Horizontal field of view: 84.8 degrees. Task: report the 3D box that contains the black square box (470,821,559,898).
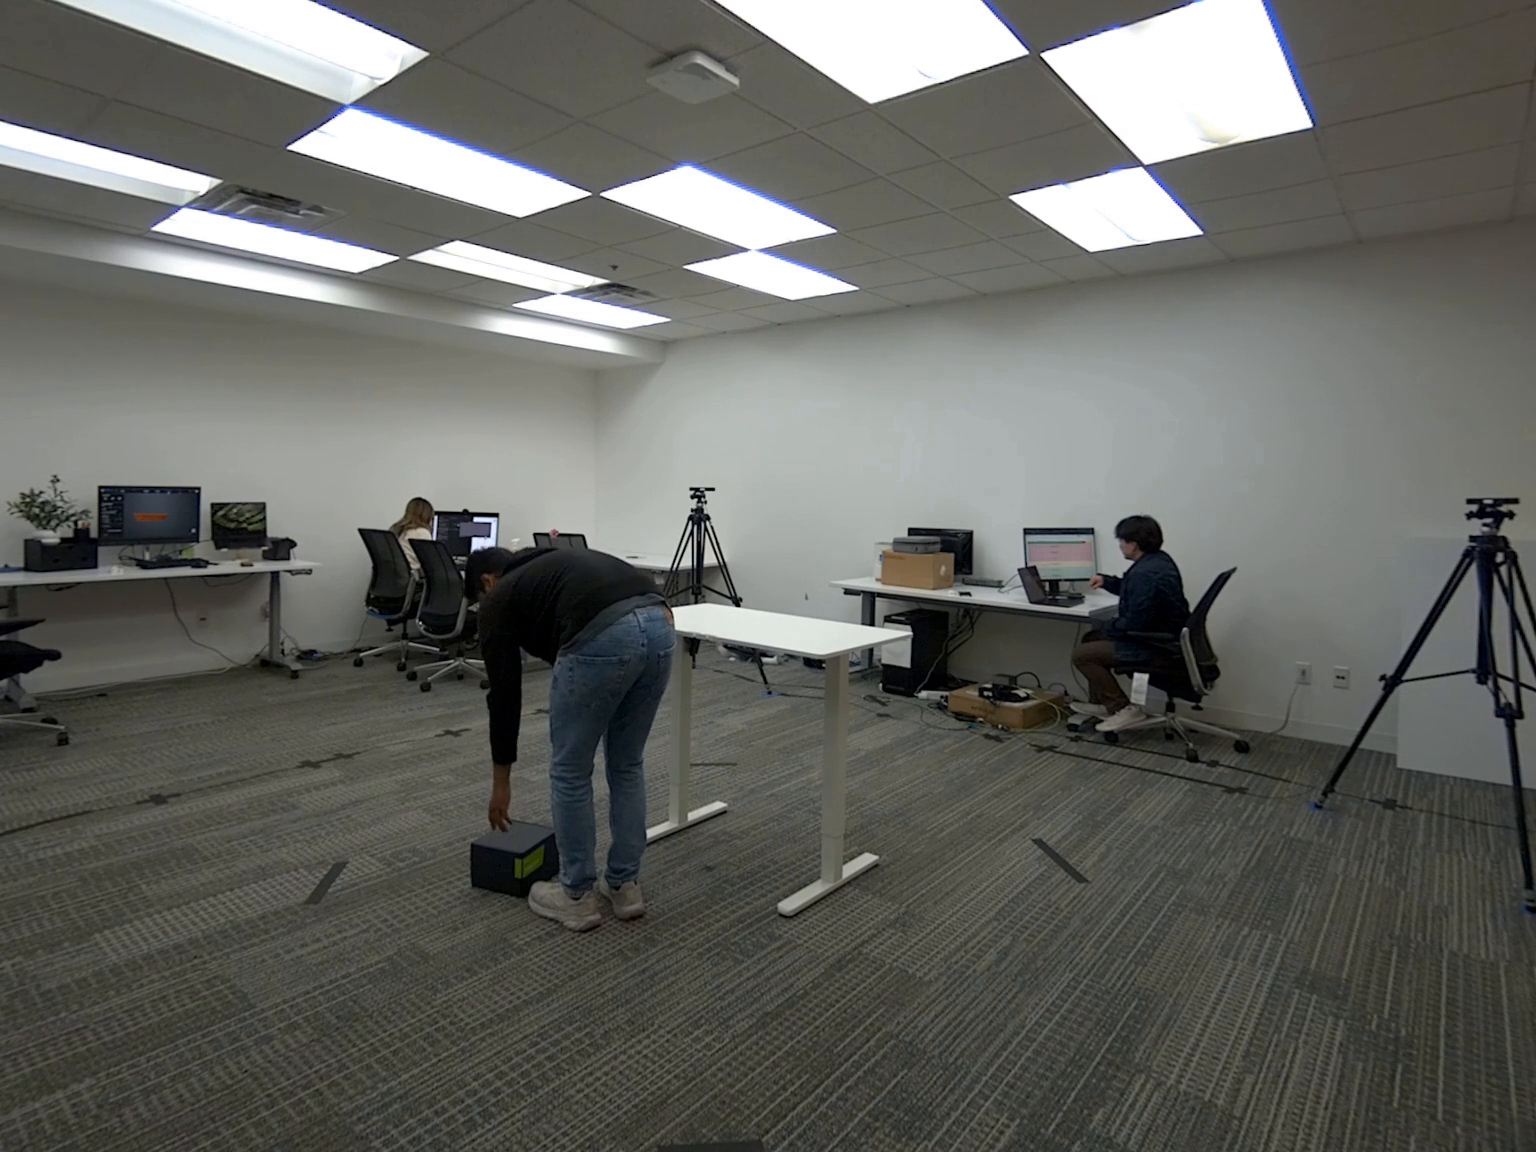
[{"bbox_3d":[-0.895,0.981,2.991,0.222,0.155,0.224,3,5,20],"label":"black square box"}]
